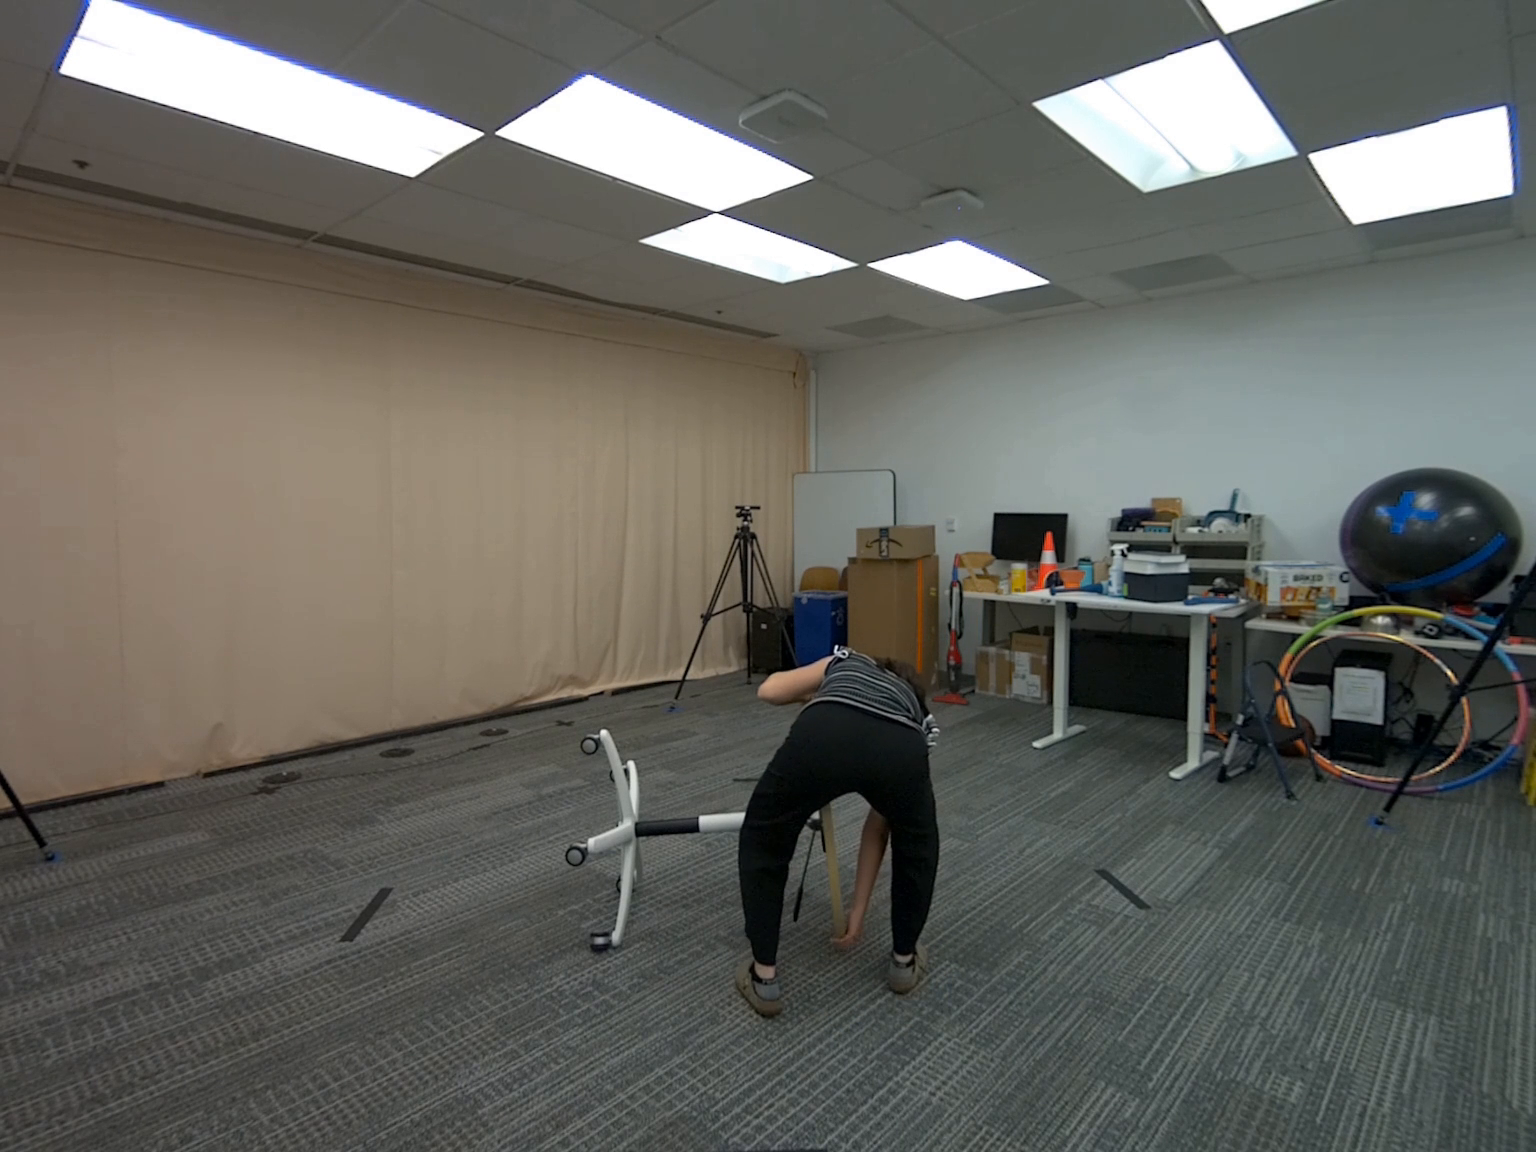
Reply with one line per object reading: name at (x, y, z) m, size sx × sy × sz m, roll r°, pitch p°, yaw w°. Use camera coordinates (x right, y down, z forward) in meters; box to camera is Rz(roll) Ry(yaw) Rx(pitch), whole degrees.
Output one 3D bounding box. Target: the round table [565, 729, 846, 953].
round table at (-0.191, 0.826, 2.790) m, size 0.791 × 0.783 × 0.782 m, roll -7°, pitch 3°, yaw 5°
